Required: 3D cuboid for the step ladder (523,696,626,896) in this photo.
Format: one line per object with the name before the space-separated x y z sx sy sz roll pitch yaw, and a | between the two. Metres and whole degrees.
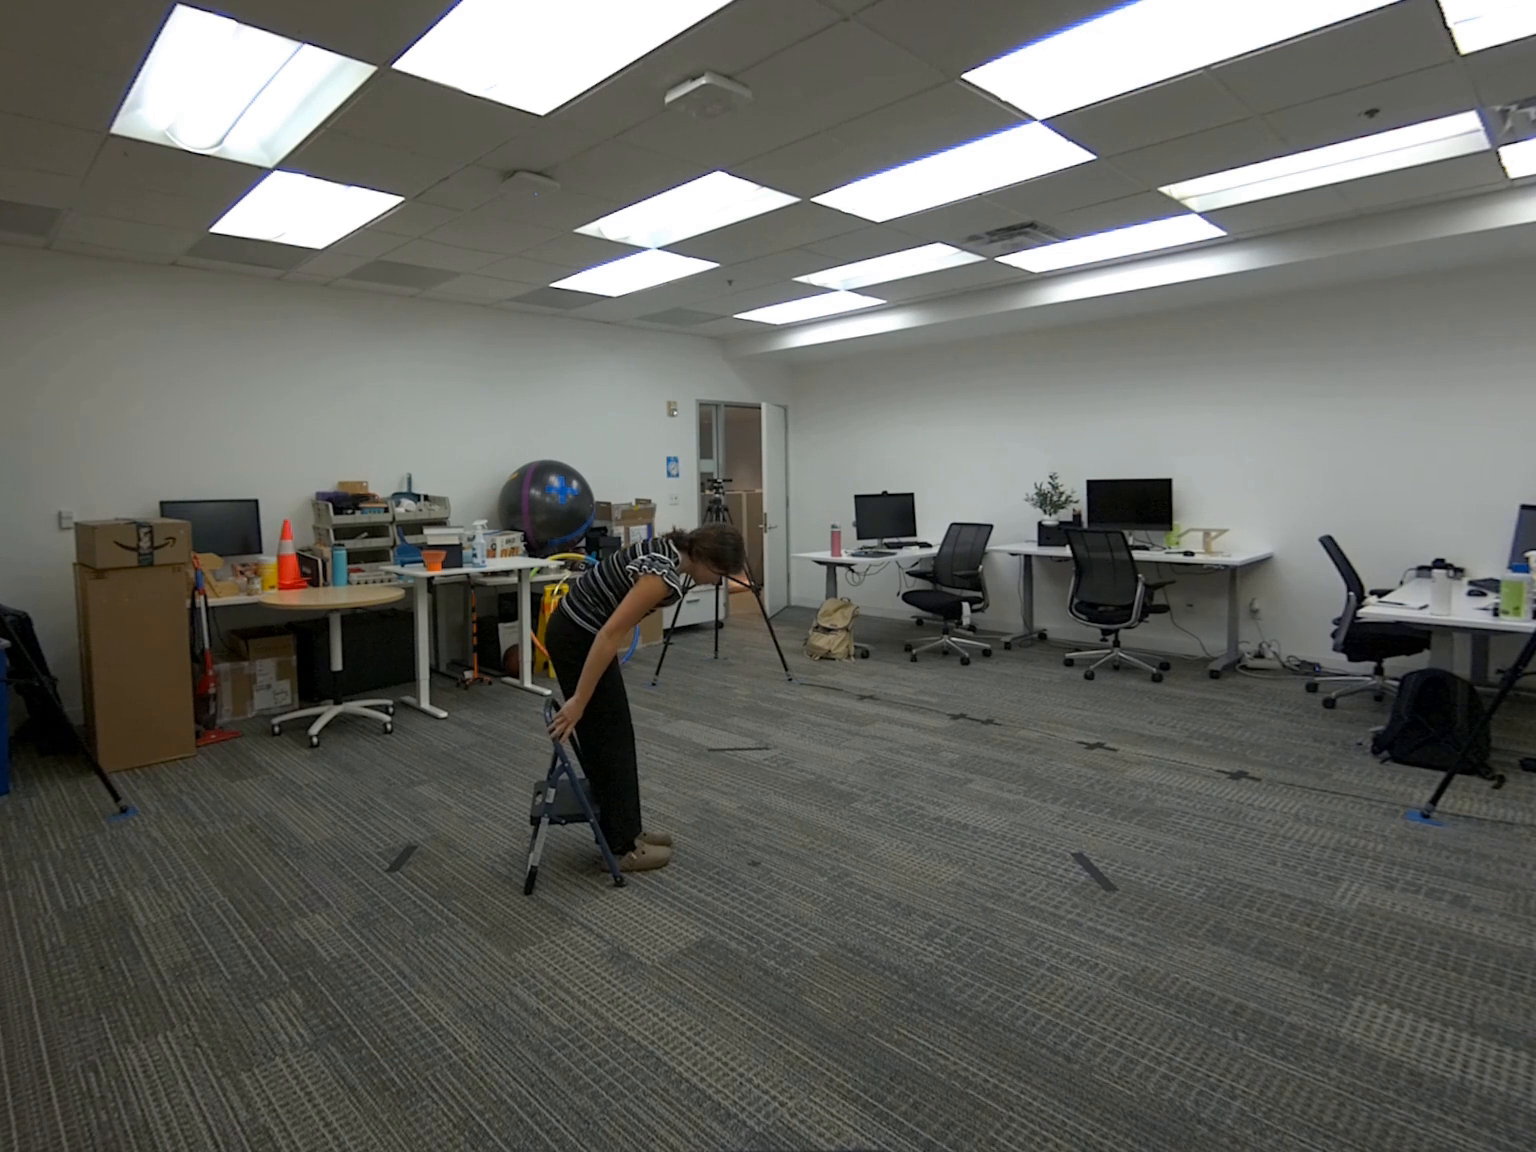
step ladder | -0.713 0.761 3.107 0.346 0.604 0.437 -1 4 -12
